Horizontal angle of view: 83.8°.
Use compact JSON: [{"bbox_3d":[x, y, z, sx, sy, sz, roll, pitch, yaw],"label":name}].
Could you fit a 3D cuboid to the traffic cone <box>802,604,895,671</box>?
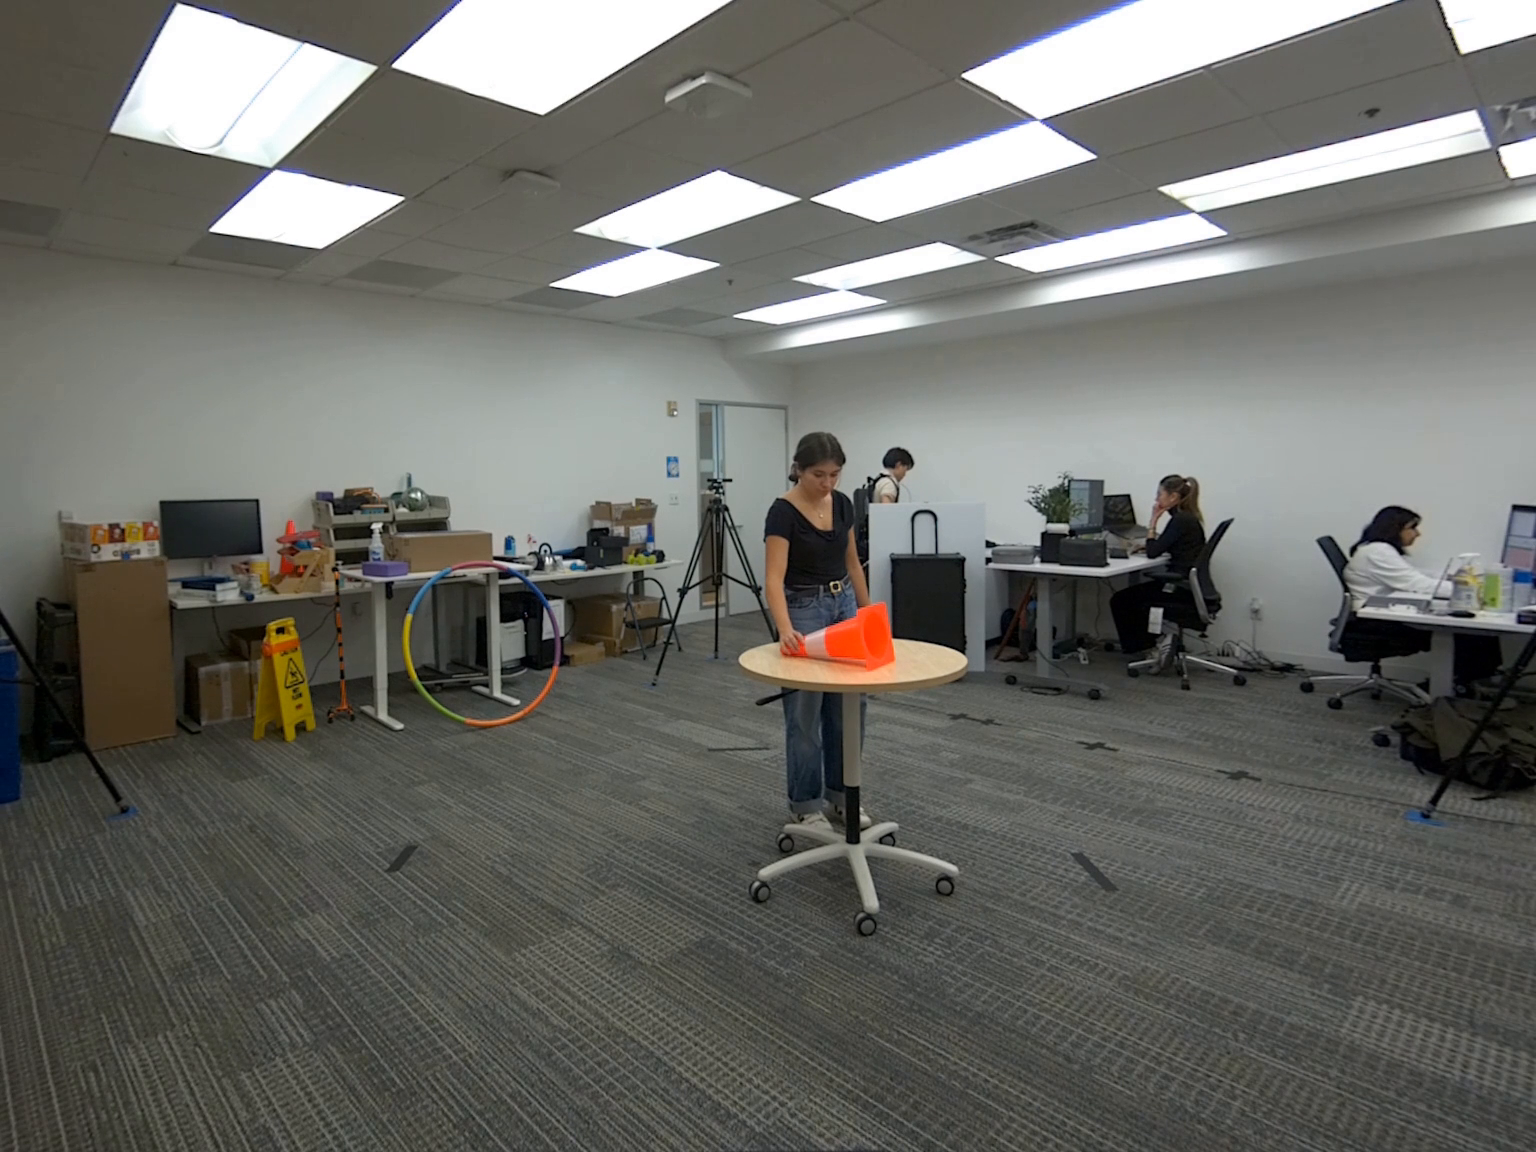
[{"bbox_3d":[0.206,0.233,2.885,0.391,0.206,0.198,-14,-2,37],"label":"traffic cone"}]
